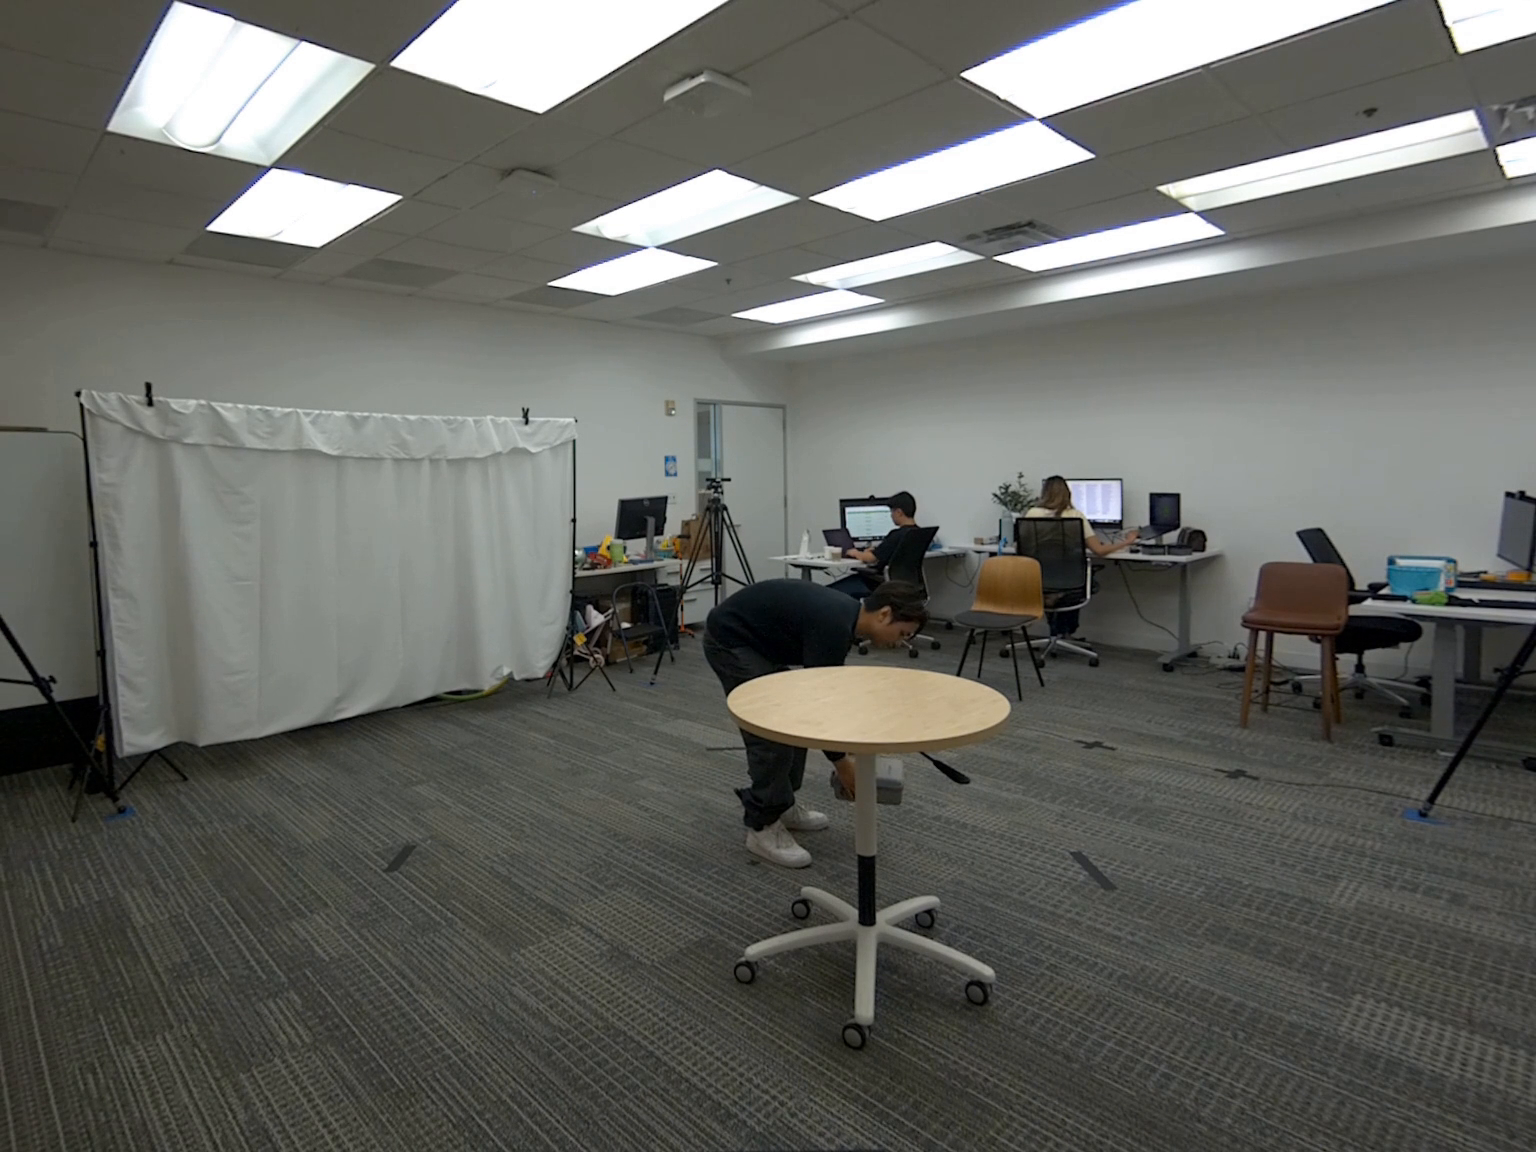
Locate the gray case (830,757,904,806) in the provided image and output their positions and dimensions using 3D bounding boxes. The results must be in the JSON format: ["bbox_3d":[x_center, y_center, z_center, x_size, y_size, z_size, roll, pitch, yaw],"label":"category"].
[{"bbox_3d":[0.377,0.756,3.220,0.264,0.104,0.255,3,7,11],"label":"gray case"}]
